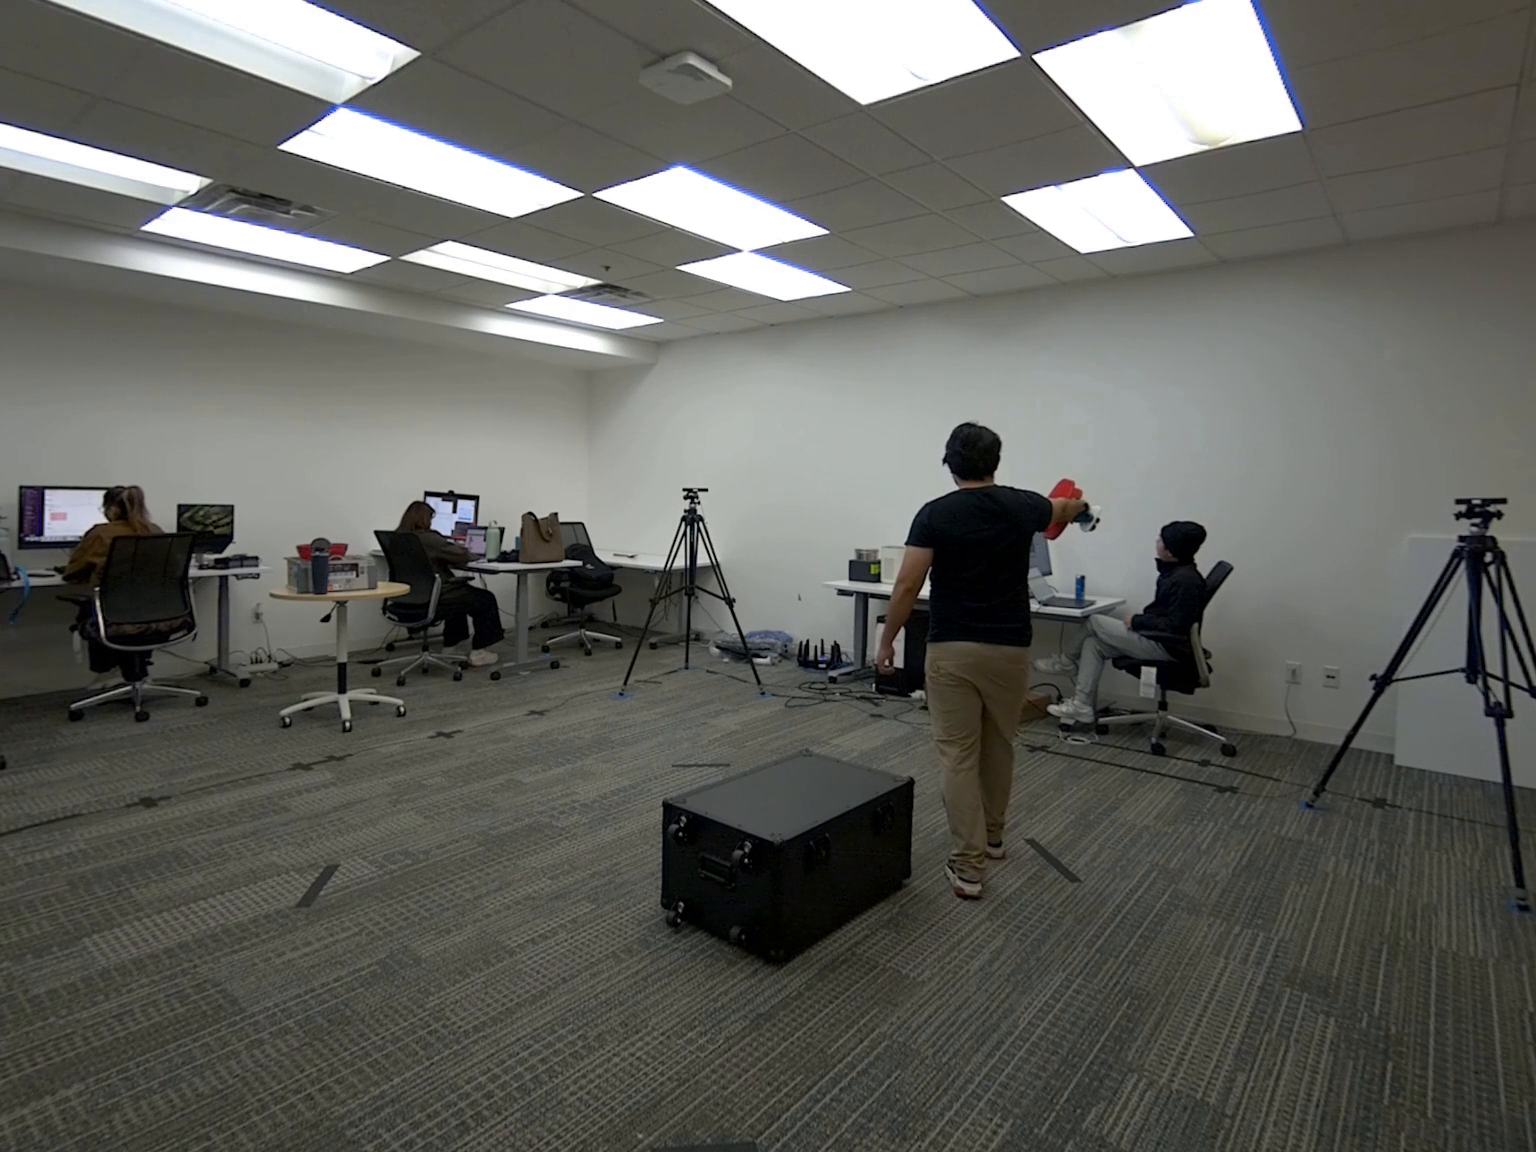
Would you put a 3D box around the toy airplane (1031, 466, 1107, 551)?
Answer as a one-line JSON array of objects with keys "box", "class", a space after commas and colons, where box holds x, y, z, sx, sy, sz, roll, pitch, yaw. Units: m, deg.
[{"box": [1.272, -0.288, 3.588, 0.151, 0.255, 0.263, 32, -33, -26], "class": "toy airplane"}]
